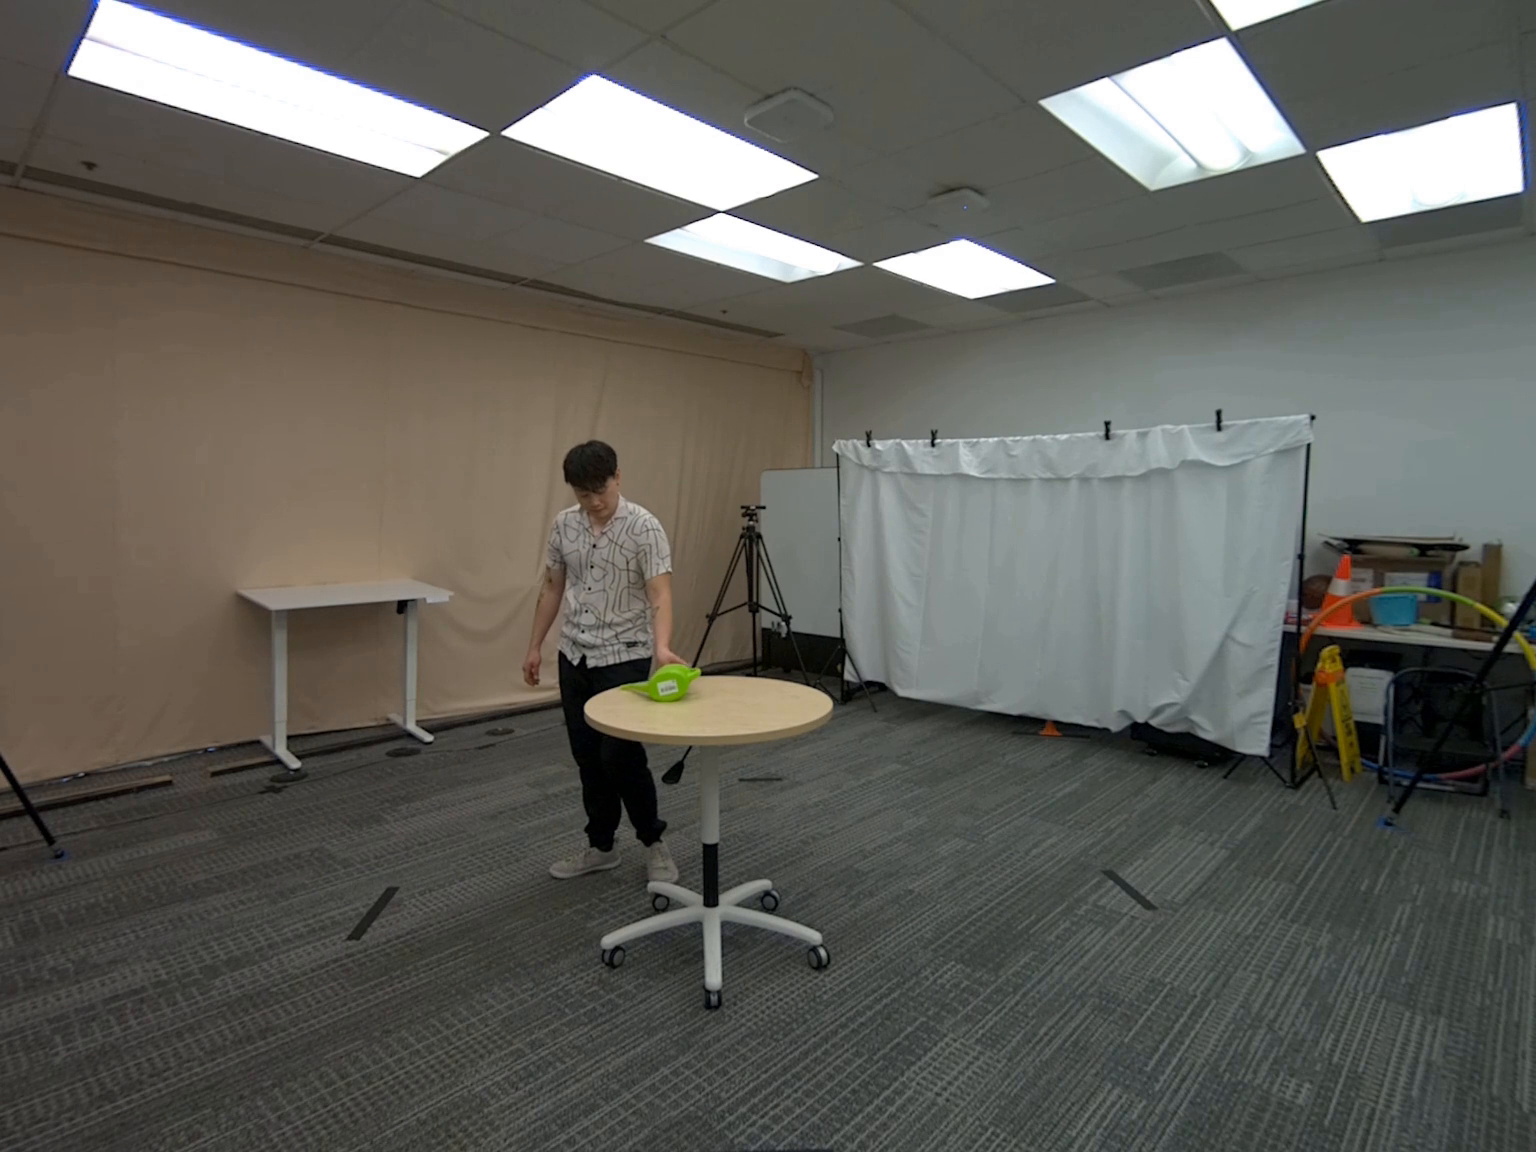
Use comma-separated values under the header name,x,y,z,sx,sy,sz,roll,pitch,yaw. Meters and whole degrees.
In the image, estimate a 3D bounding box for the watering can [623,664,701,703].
name,x,y,z,sx,sy,sz,roll,pitch,yaw
watering can,-0.343,0.357,2.697,0.279,0.098,0.177,-25,3,3
